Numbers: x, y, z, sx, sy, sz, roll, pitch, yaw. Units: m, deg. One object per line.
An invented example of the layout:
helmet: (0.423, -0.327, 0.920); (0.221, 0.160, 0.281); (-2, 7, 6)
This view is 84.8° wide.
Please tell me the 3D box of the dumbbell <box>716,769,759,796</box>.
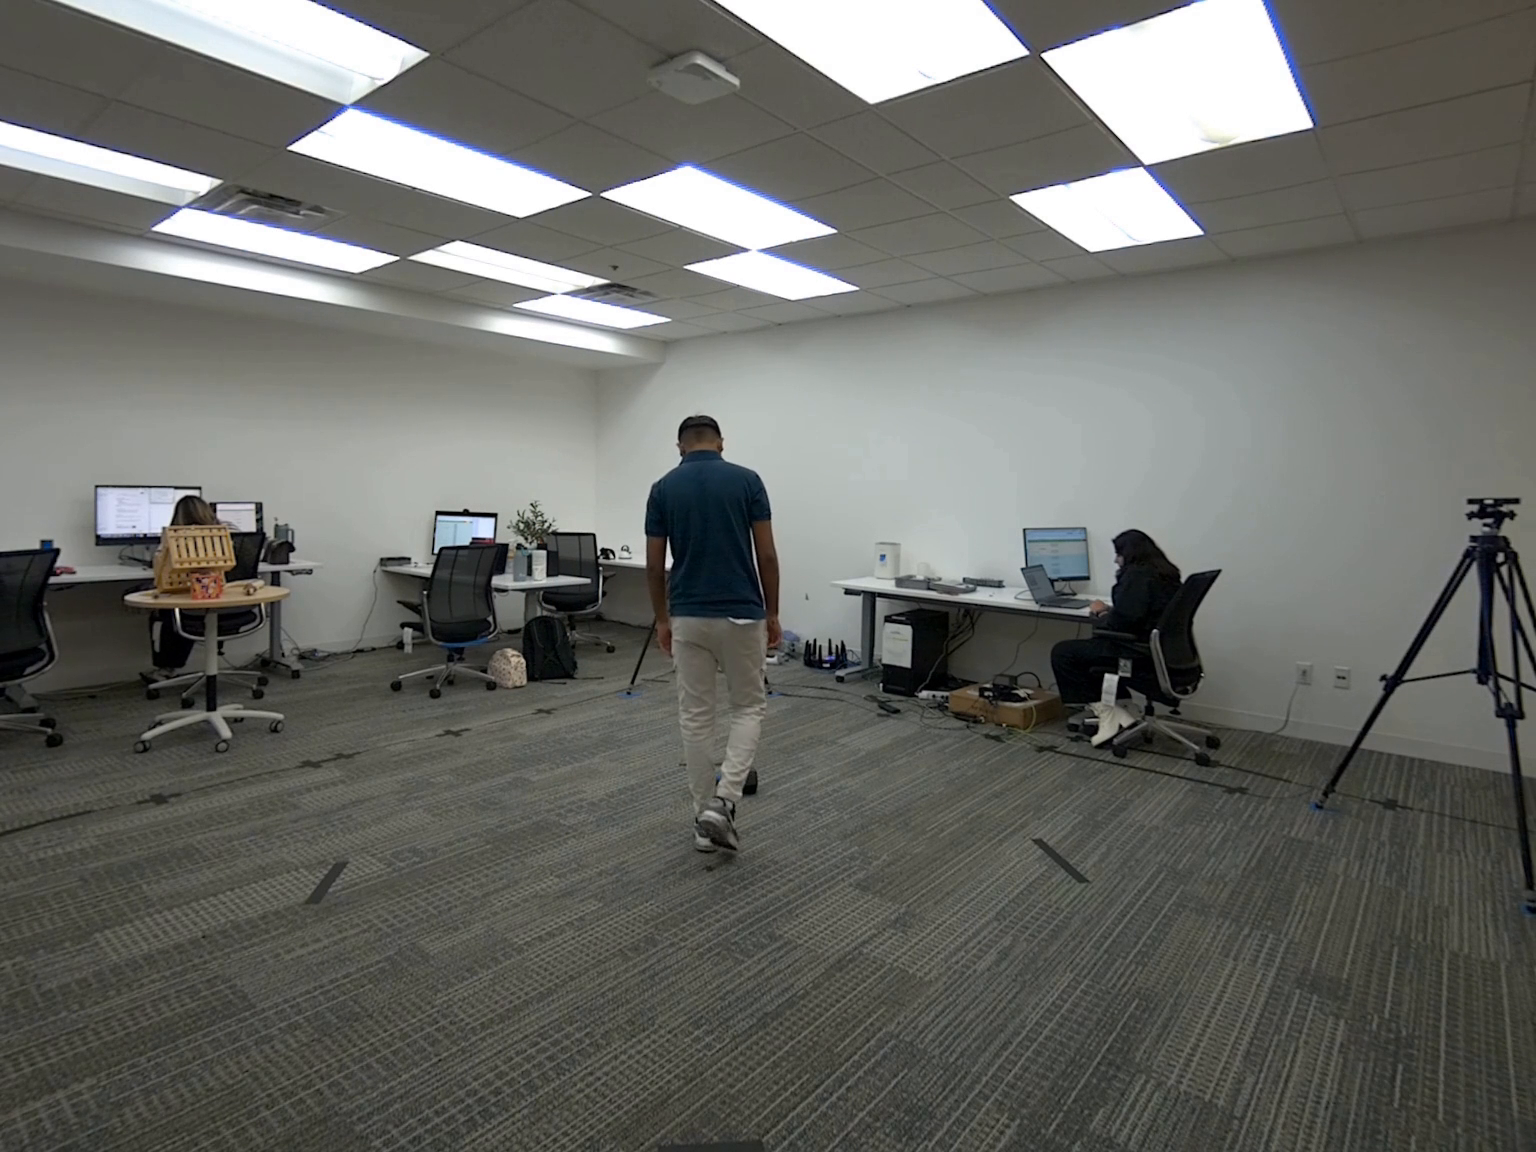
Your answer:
dumbbell: (-0.201, 0.931, 3.896); (0.291, 0.120, 0.112); (0, 34, -7)
